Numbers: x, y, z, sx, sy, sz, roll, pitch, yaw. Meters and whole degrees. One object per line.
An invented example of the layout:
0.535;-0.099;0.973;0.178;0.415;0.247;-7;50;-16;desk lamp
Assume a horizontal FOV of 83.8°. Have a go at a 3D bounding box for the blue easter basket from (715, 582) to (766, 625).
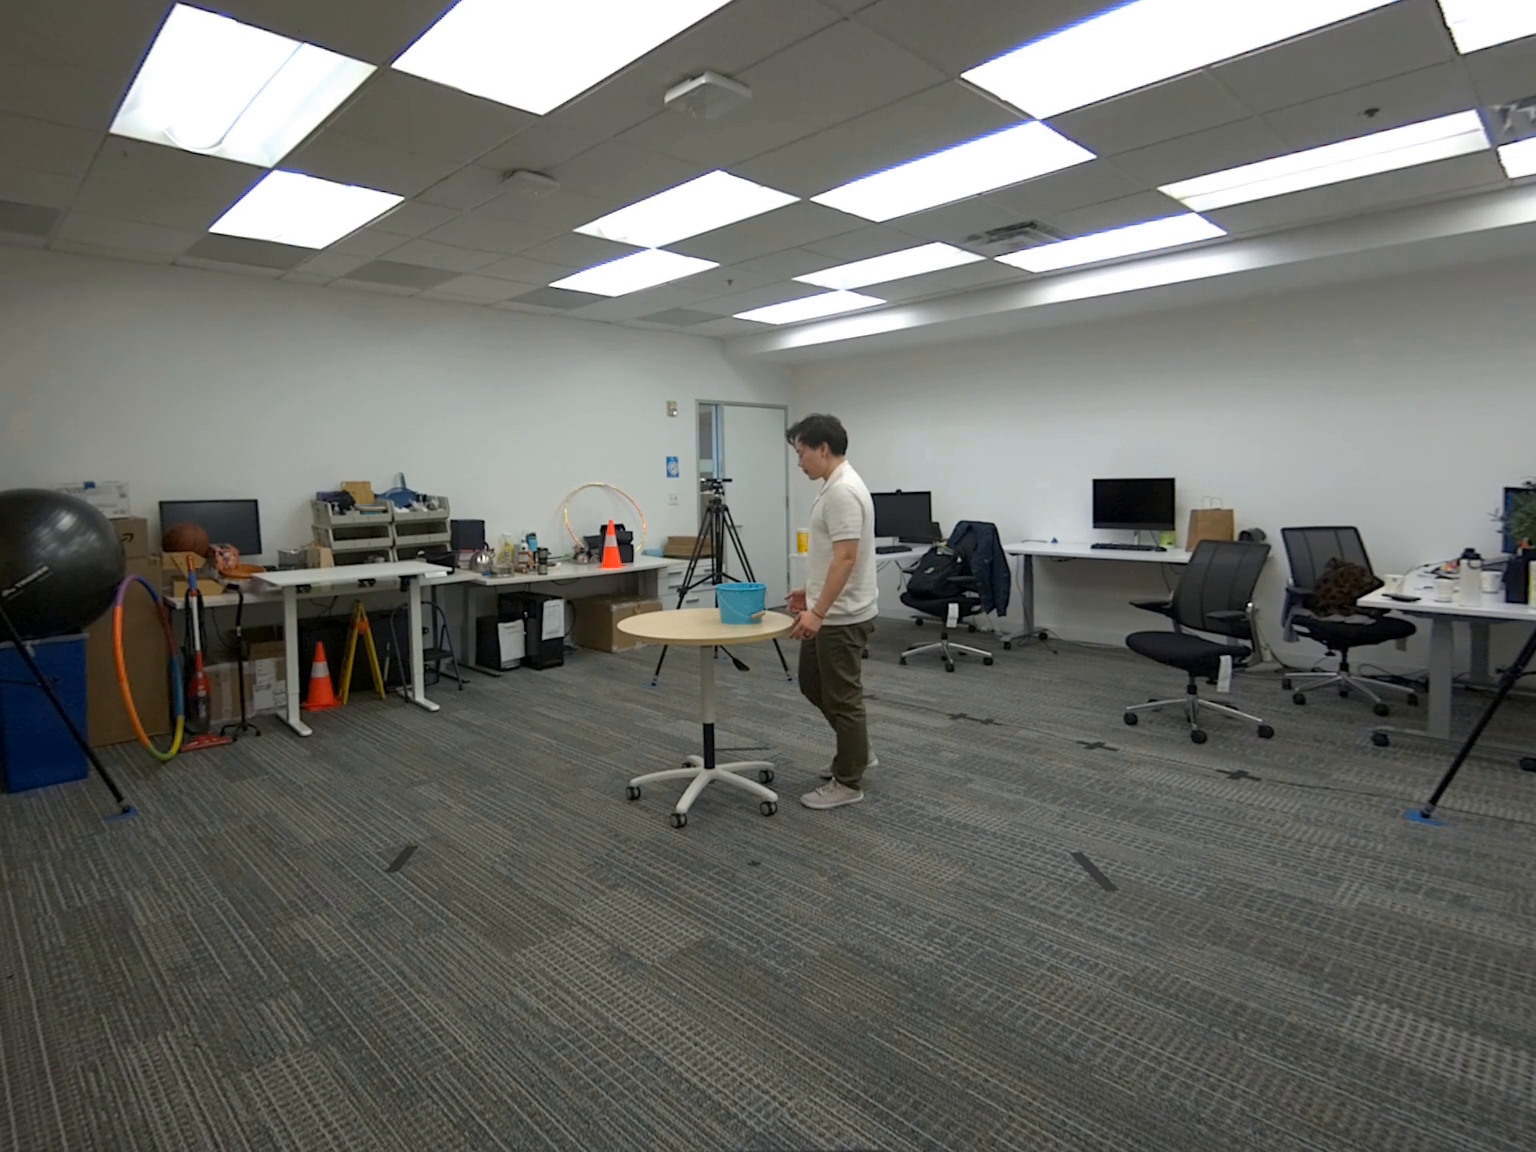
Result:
-0.113;0.120;3.701;0.243;0.155;0.245;-1;6;-2;blue easter basket
